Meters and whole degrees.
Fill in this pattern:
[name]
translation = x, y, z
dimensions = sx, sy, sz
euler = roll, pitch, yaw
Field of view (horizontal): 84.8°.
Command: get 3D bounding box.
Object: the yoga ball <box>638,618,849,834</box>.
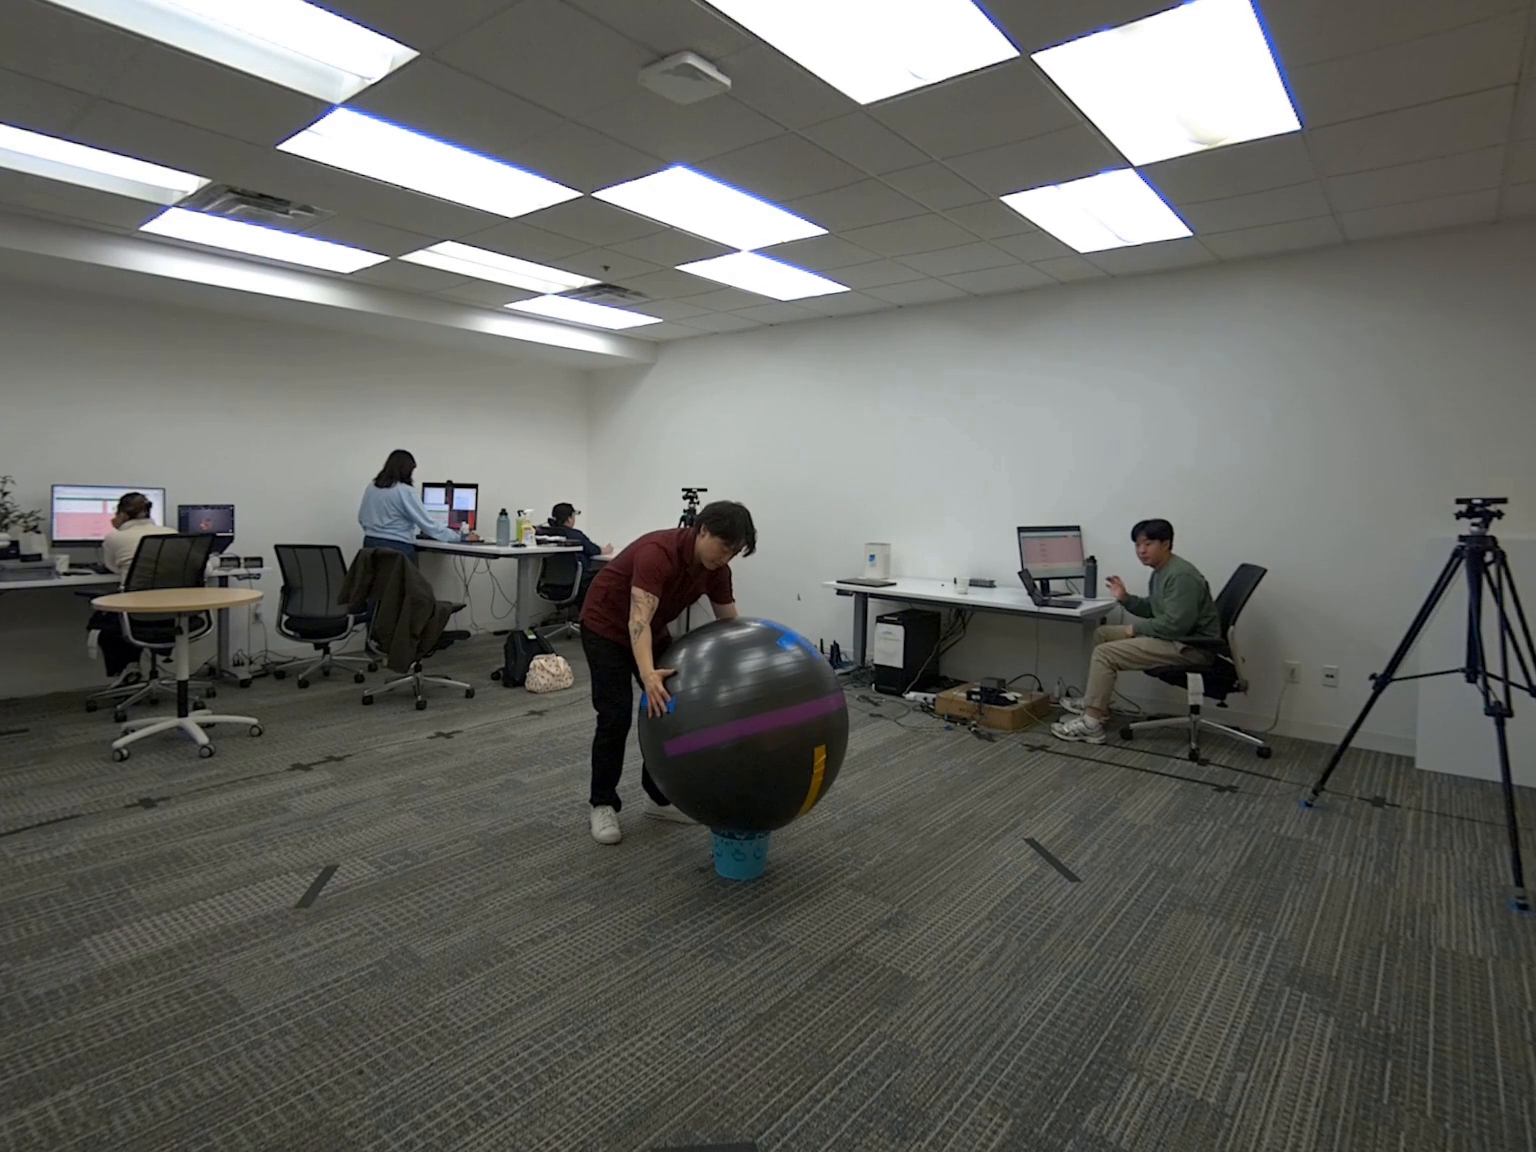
[yoga ball]
translation = -0.104, 0.521, 3.072
dimensions = 0.757, 0.756, 0.762
euler = 1, 4, -2
